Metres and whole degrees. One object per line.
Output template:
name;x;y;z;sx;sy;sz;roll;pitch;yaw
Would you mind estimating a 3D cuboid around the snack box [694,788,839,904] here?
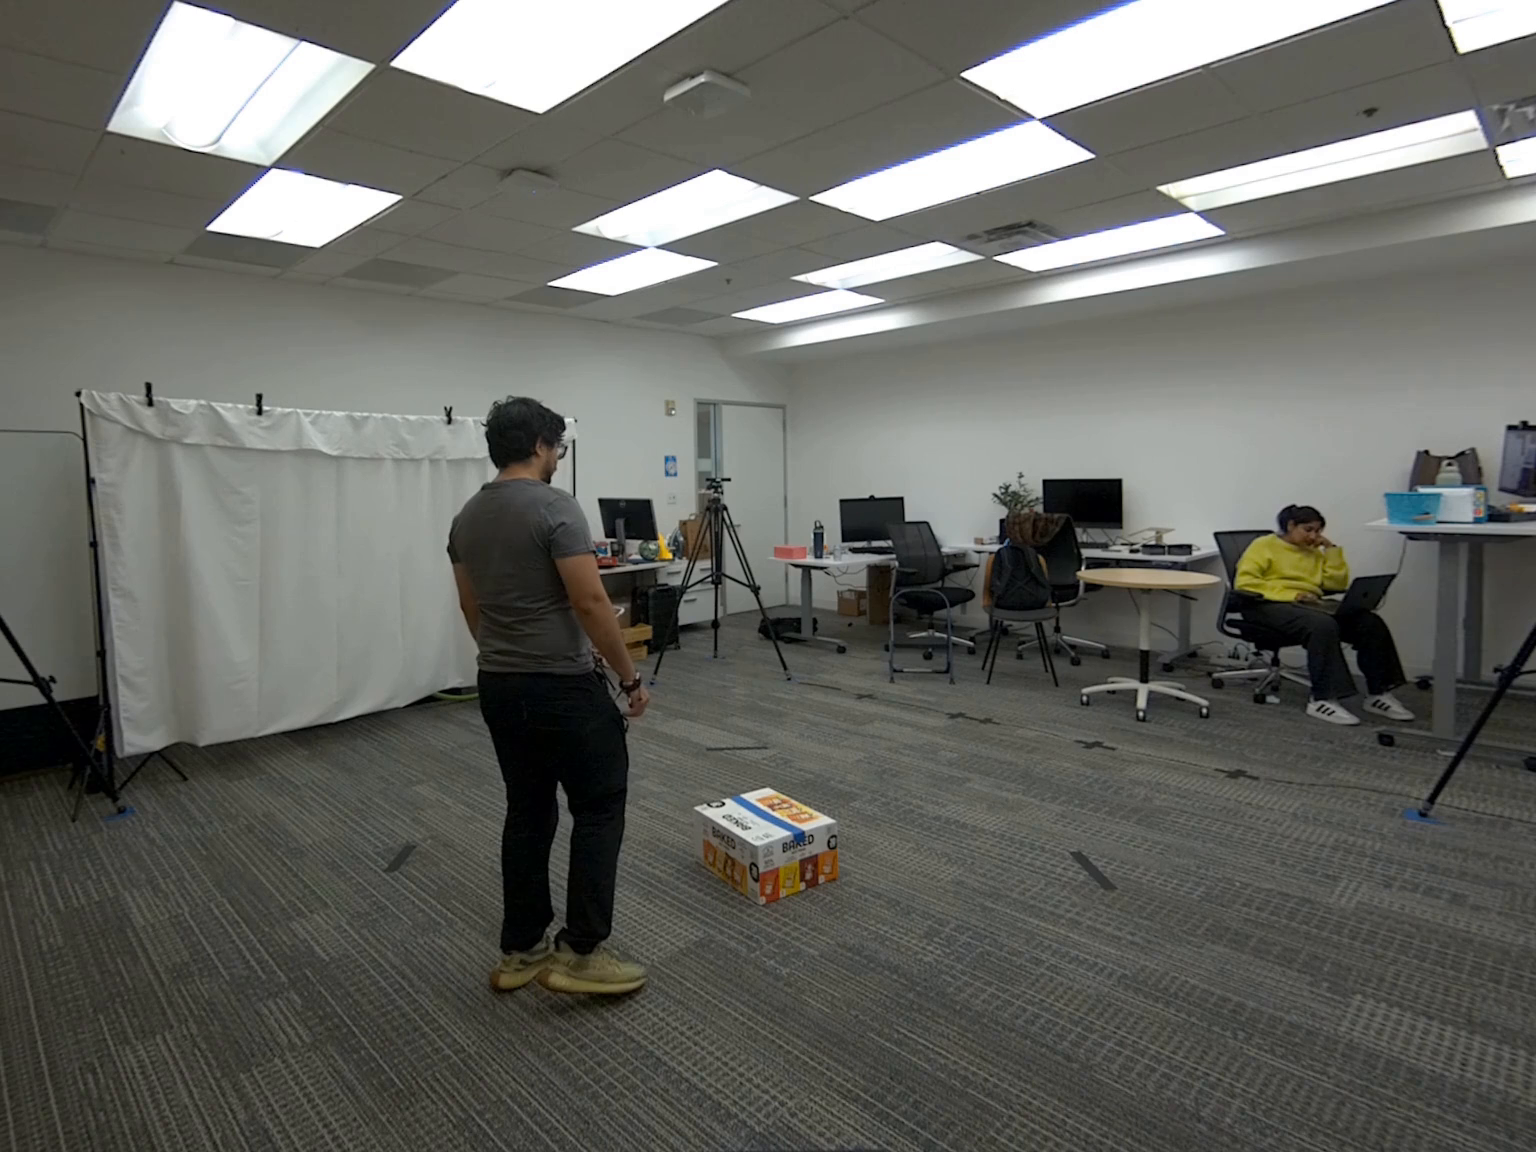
snack box;-0.013;0.948;3.041;0.332;0.205;0.417;-5;7;-35
